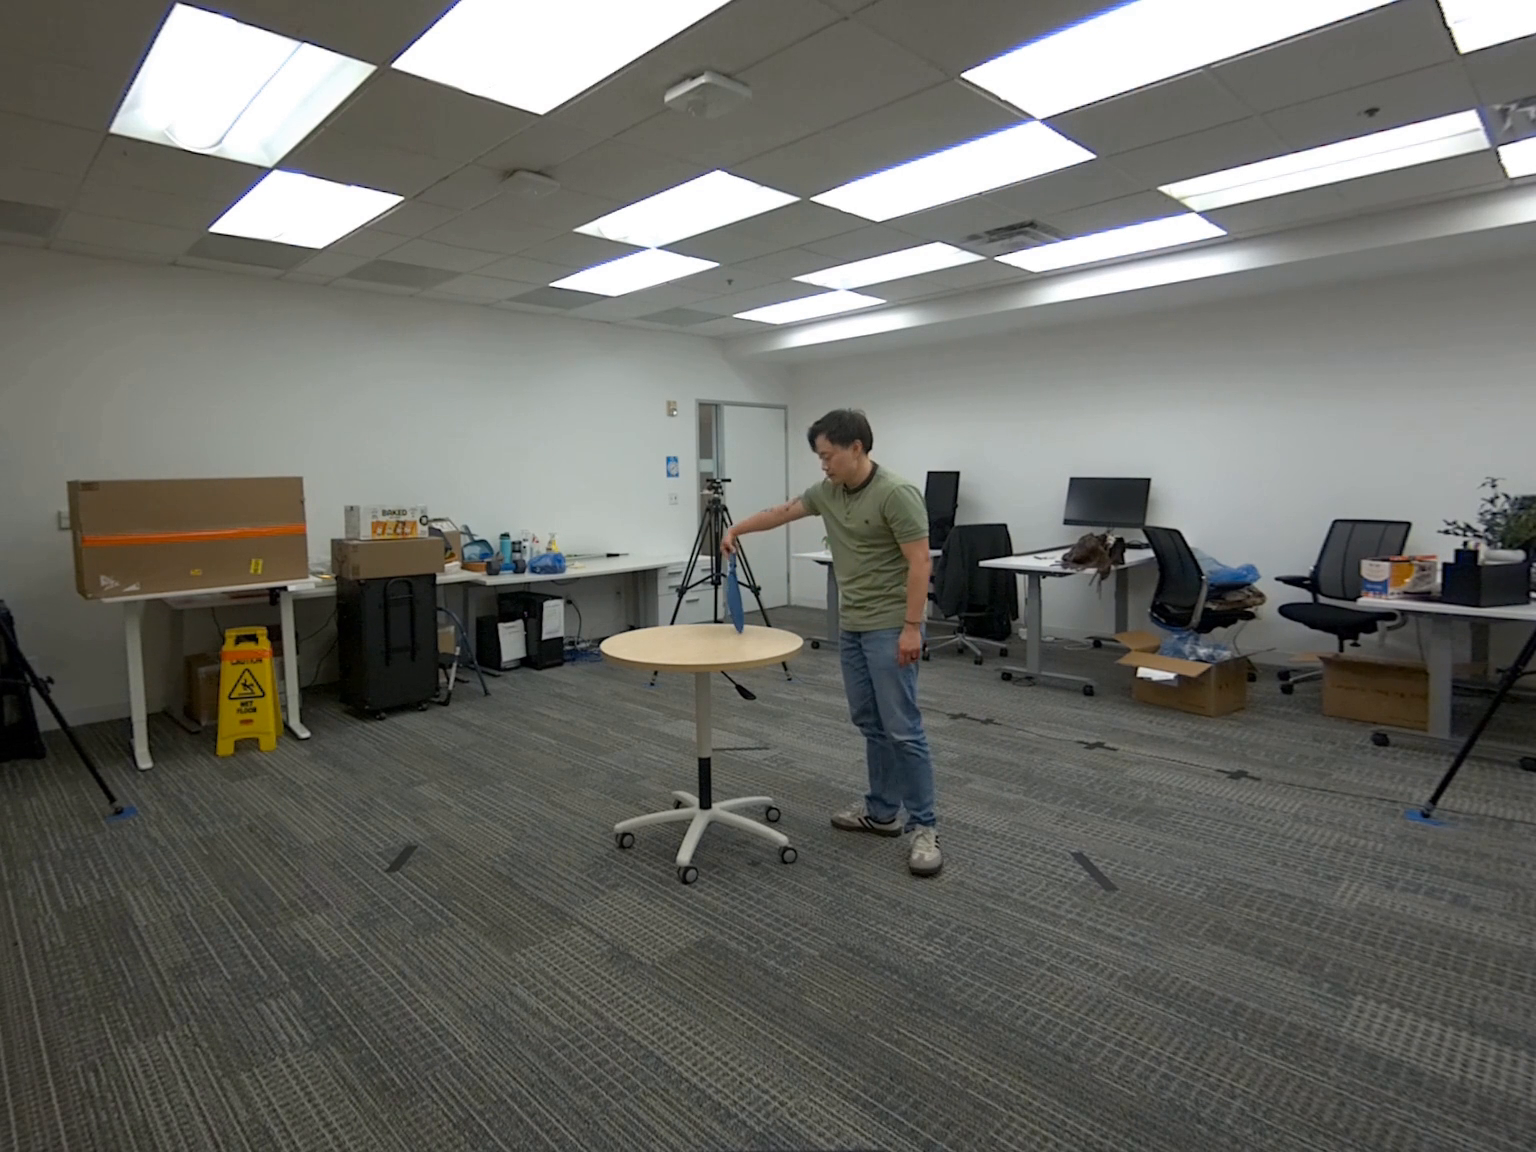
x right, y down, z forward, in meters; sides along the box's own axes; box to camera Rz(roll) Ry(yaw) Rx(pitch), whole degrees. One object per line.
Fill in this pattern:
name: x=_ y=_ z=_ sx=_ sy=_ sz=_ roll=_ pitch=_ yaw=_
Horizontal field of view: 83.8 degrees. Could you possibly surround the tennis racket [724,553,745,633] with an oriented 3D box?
tennis racket: x=-0.141 y=0.041 z=3.497 sx=0.032 sy=0.206 sz=0.446 roll=-13 pitch=47 yaw=5
